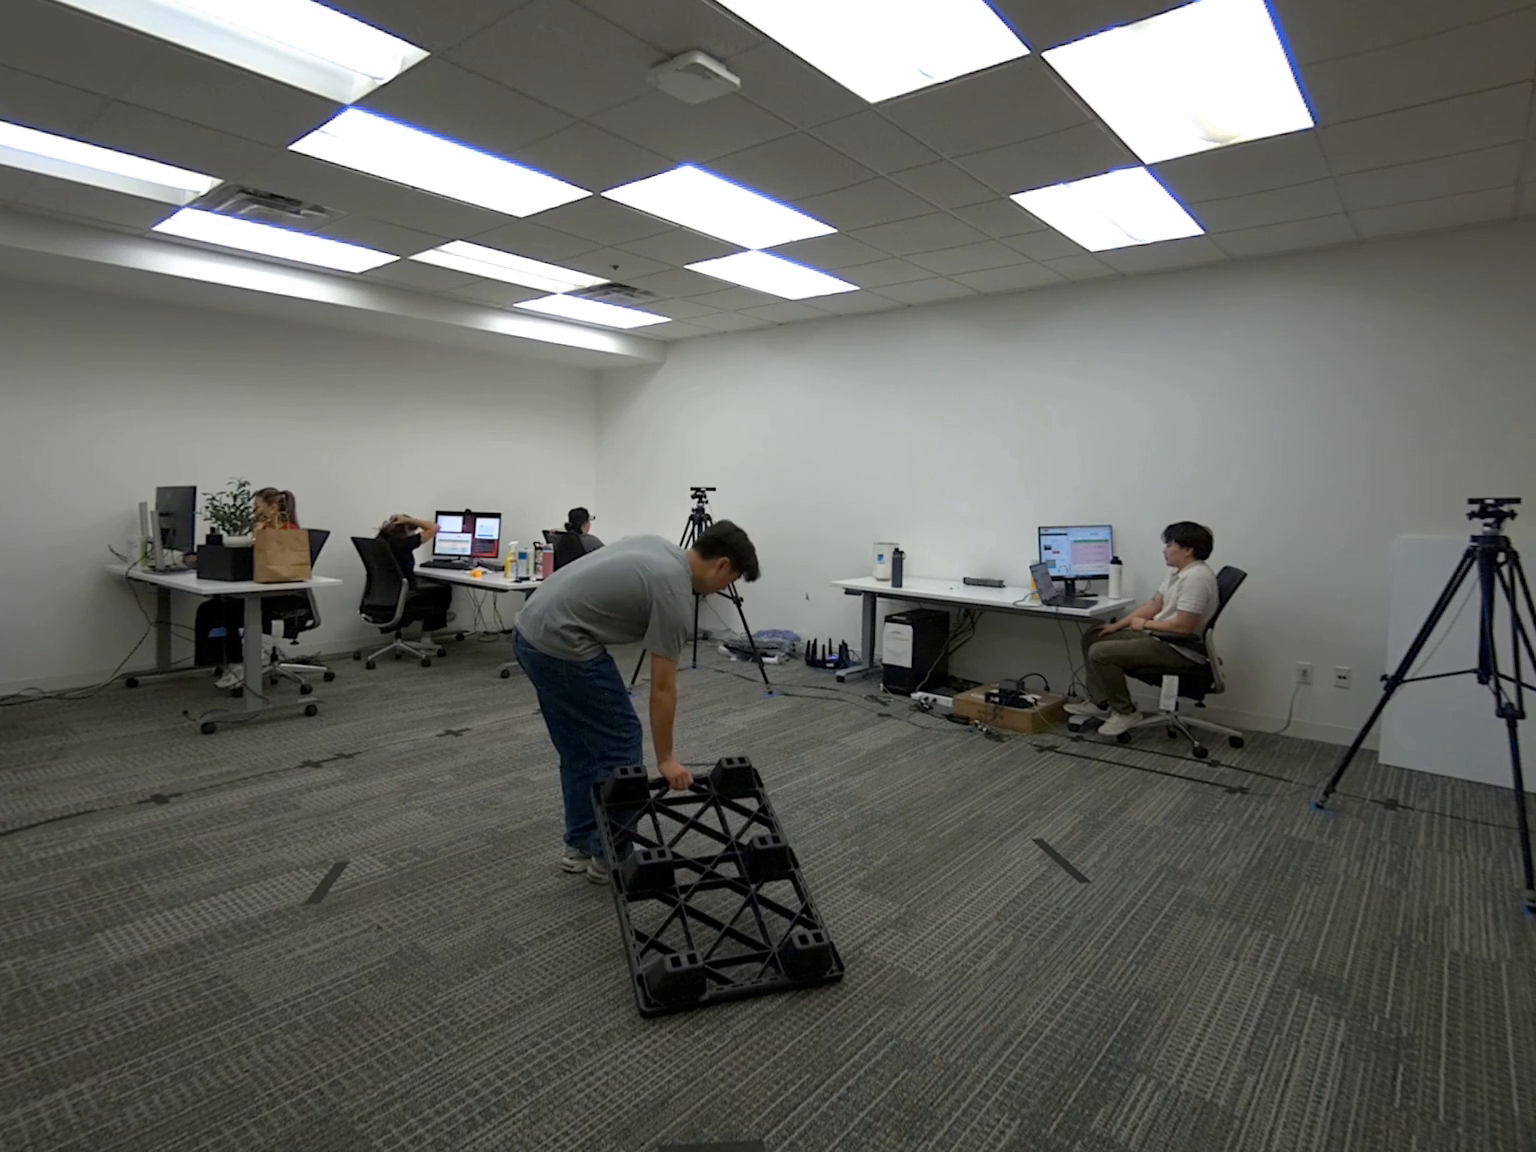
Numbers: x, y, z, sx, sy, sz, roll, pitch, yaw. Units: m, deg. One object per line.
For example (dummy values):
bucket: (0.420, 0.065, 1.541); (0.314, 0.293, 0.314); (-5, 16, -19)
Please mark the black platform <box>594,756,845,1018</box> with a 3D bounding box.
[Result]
black platform: (-0.188, 0.880, 2.606); (0.592, 0.141, 0.838); (-1, 32, -22)
